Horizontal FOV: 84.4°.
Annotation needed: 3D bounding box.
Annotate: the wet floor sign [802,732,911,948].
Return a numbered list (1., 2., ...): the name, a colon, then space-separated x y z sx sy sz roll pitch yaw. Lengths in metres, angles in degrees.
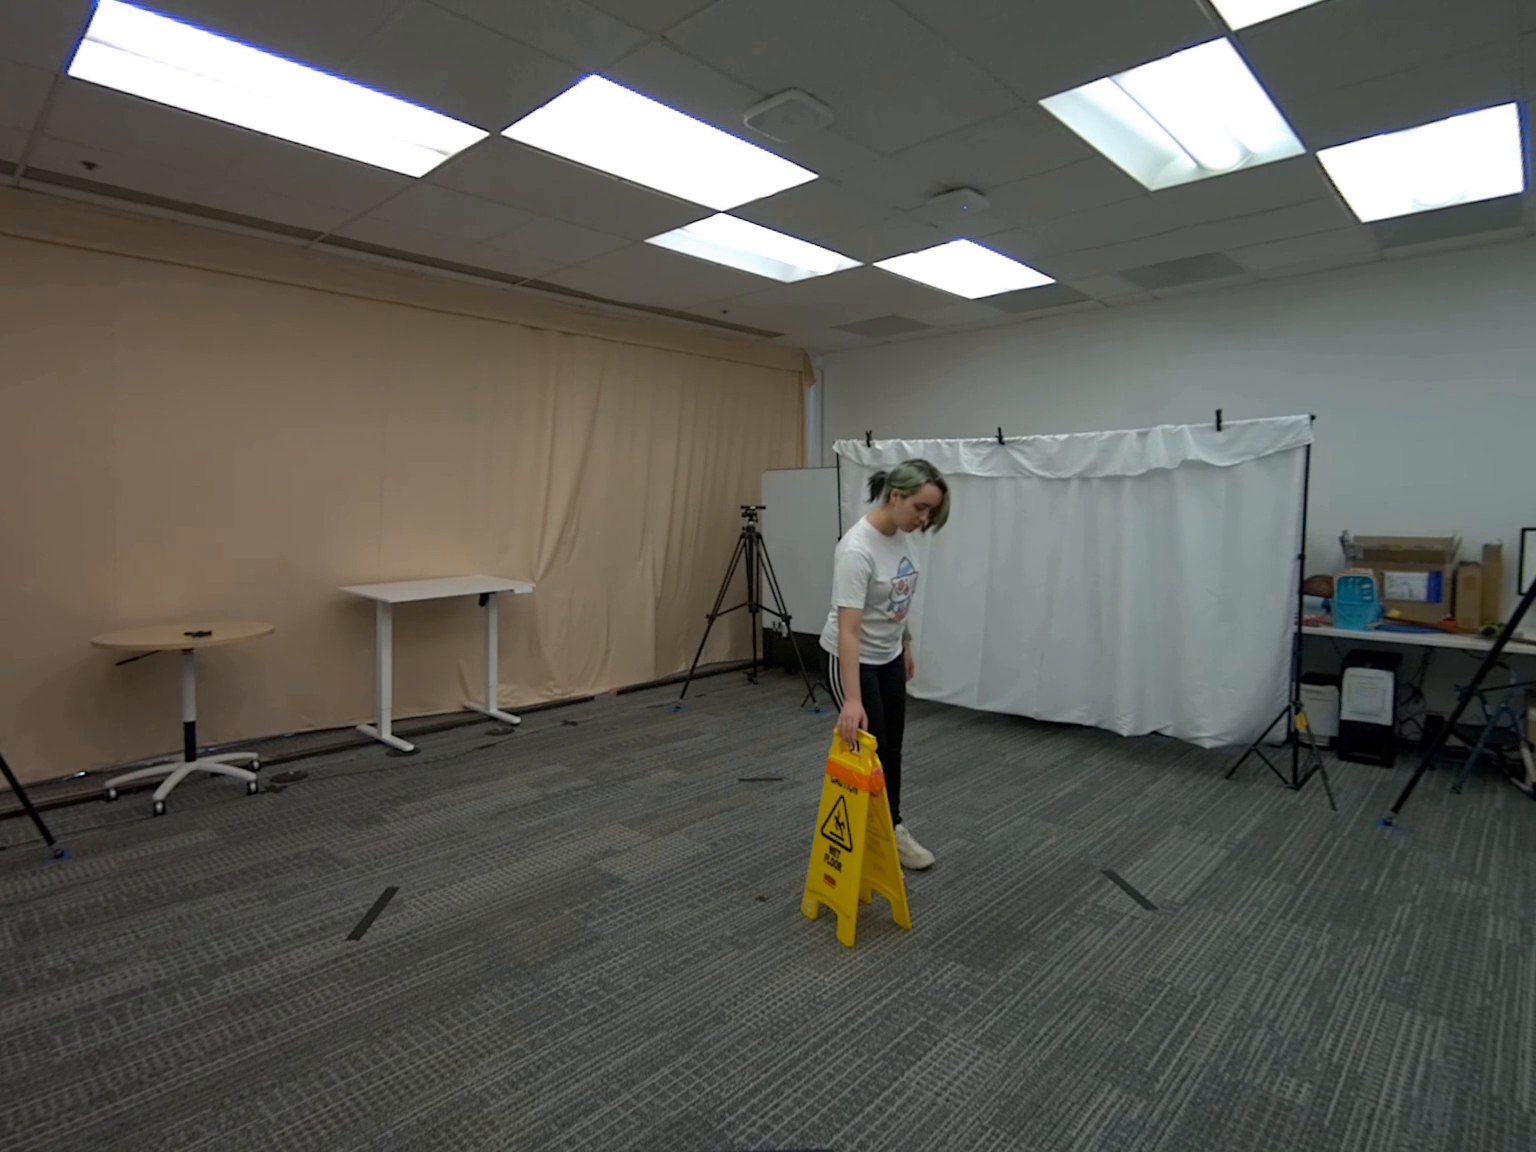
1. wet floor sign: 0.297 0.827 2.807 0.282 0.644 0.290 -2 5 -29
